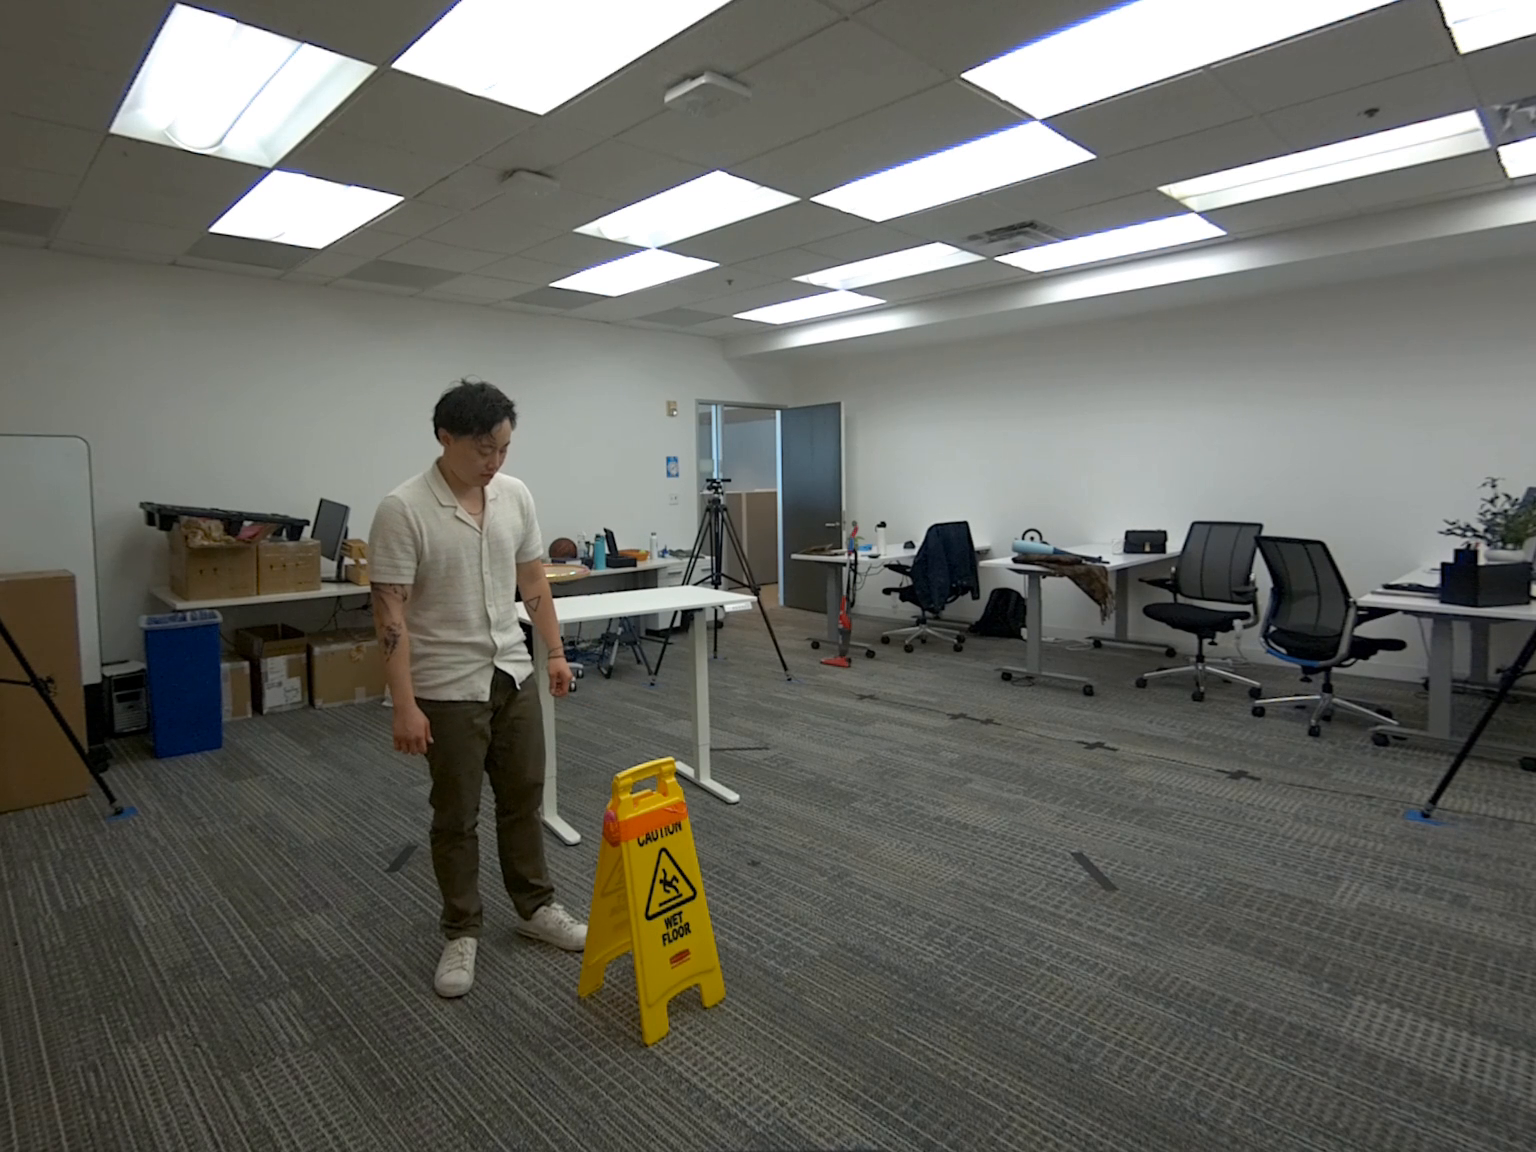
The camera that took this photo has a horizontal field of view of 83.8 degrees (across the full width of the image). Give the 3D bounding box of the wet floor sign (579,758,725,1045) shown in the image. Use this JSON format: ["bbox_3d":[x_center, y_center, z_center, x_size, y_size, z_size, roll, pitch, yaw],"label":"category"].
[{"bbox_3d":[-0.323,0.821,2.300,0.298,0.643,0.275,3,6,44],"label":"wet floor sign"}]
